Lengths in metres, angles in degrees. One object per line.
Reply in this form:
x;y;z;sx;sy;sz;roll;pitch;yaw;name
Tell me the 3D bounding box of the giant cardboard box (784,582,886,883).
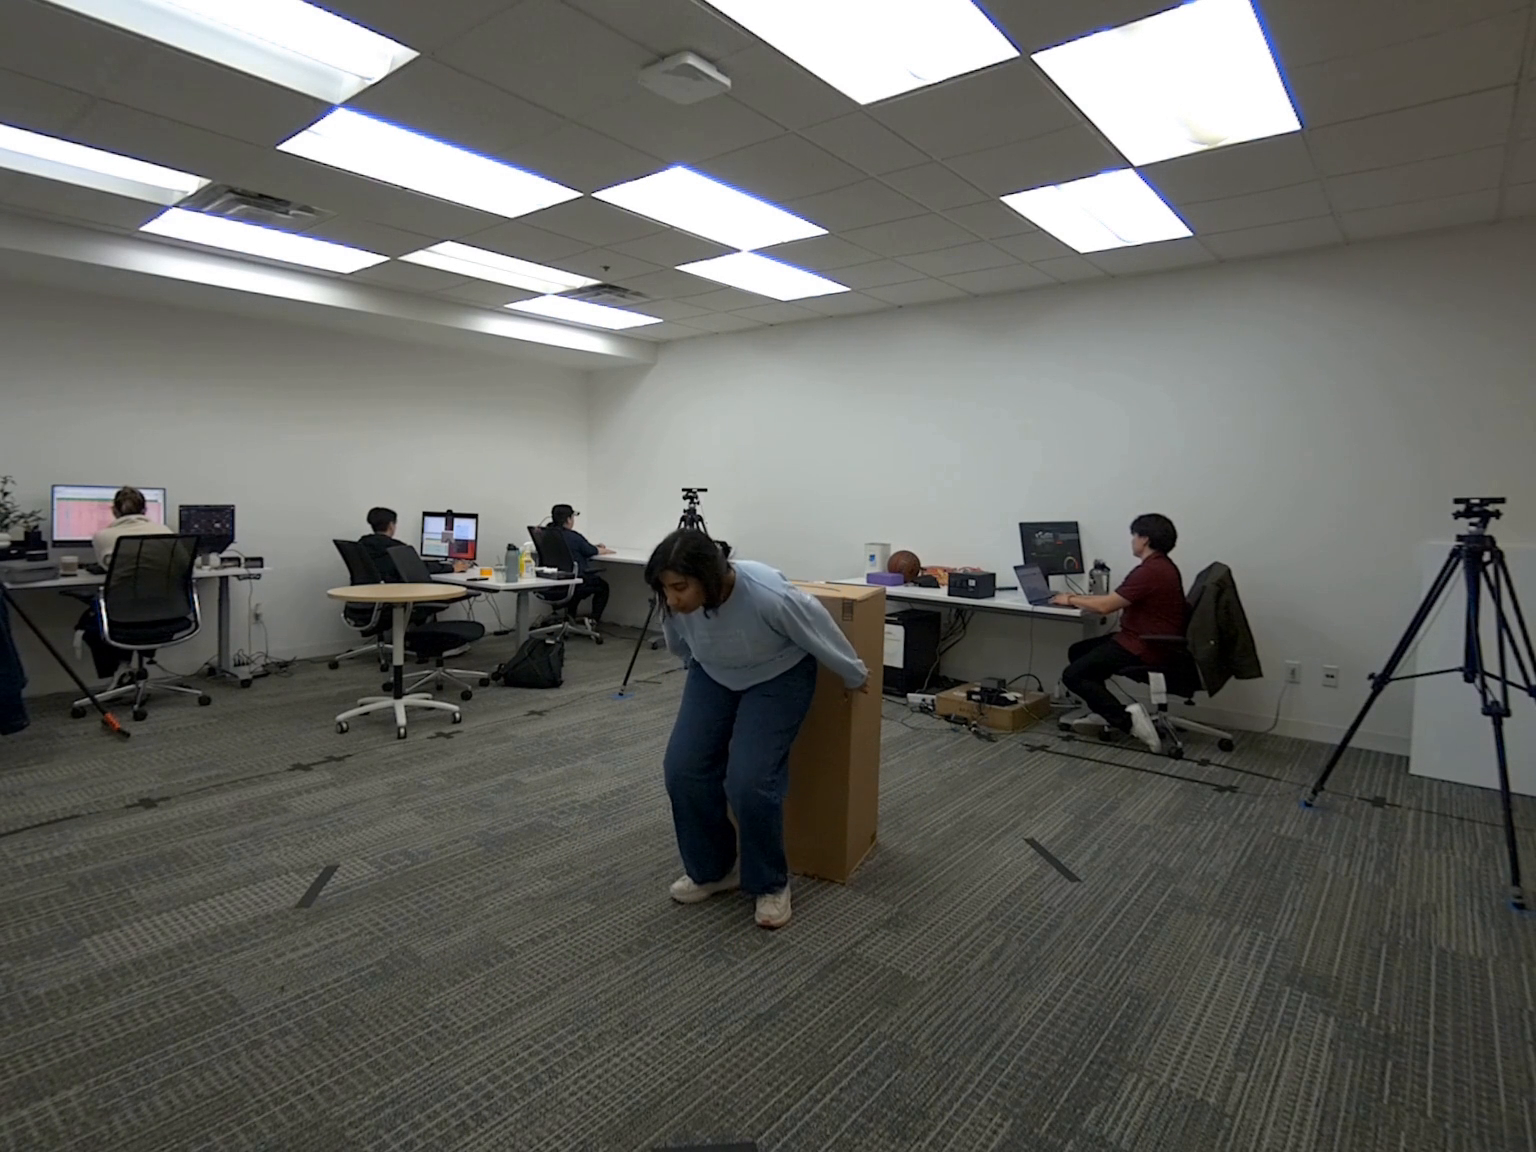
0.103;0.547;3.295;0.593;1.022;0.416;3;4;26;giant cardboard box
